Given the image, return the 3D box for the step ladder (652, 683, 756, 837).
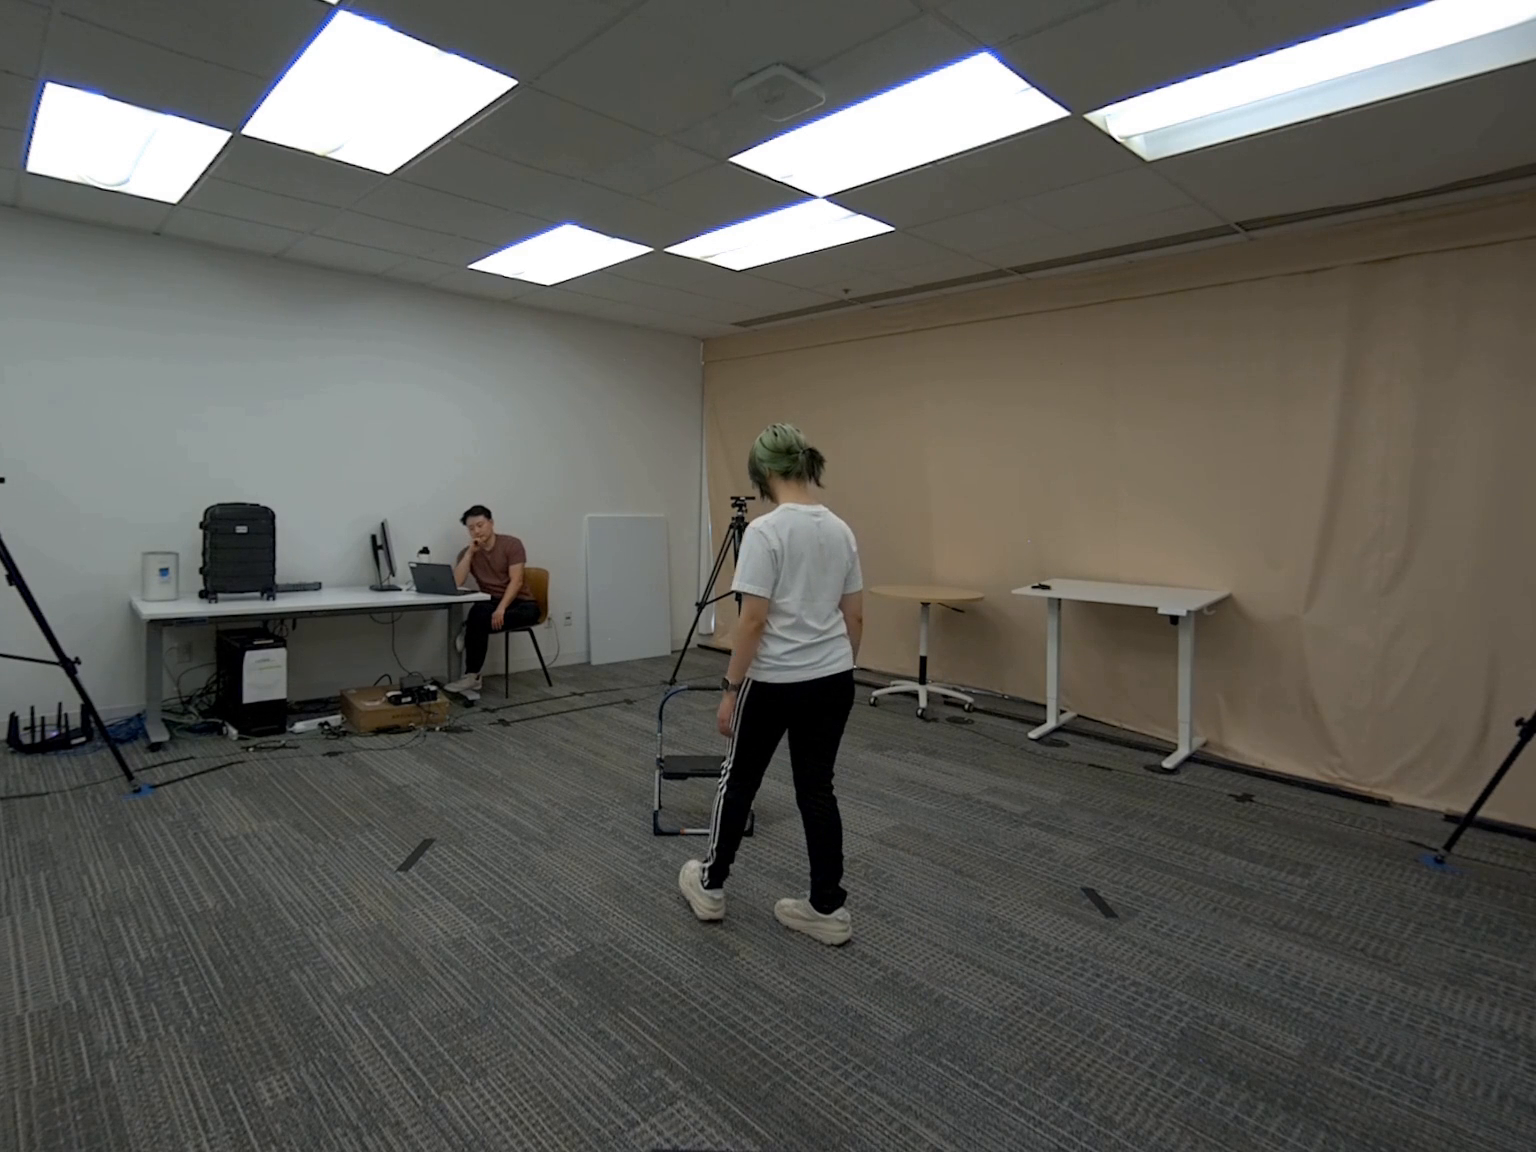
[{"bbox_3d":[-0.282,0.756,3.614,0.429,0.604,0.352,1,4,-6],"label":"step ladder"}]
